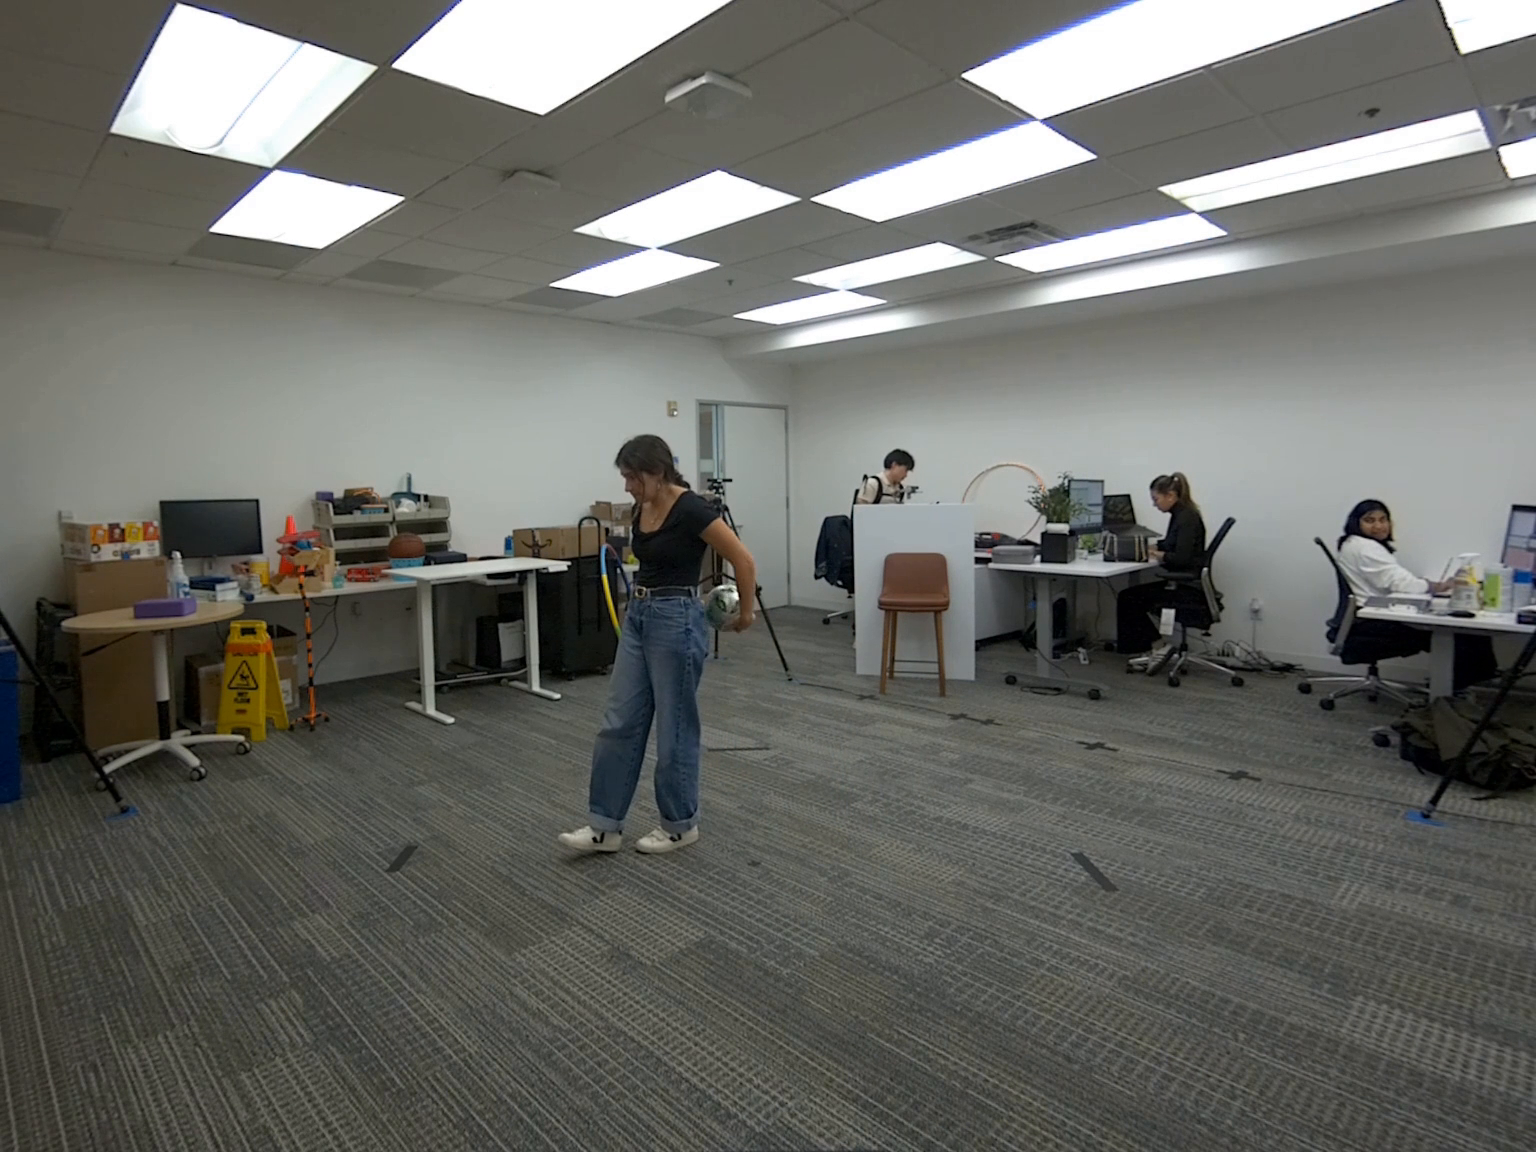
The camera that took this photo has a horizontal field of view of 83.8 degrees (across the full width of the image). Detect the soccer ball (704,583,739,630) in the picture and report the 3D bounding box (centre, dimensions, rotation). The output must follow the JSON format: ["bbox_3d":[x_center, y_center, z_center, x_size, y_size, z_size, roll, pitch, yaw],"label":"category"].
[{"bbox_3d":[-0.160,0.122,3.338,0.187,0.187,0.188,-1,5,-2],"label":"soccer ball"}]
